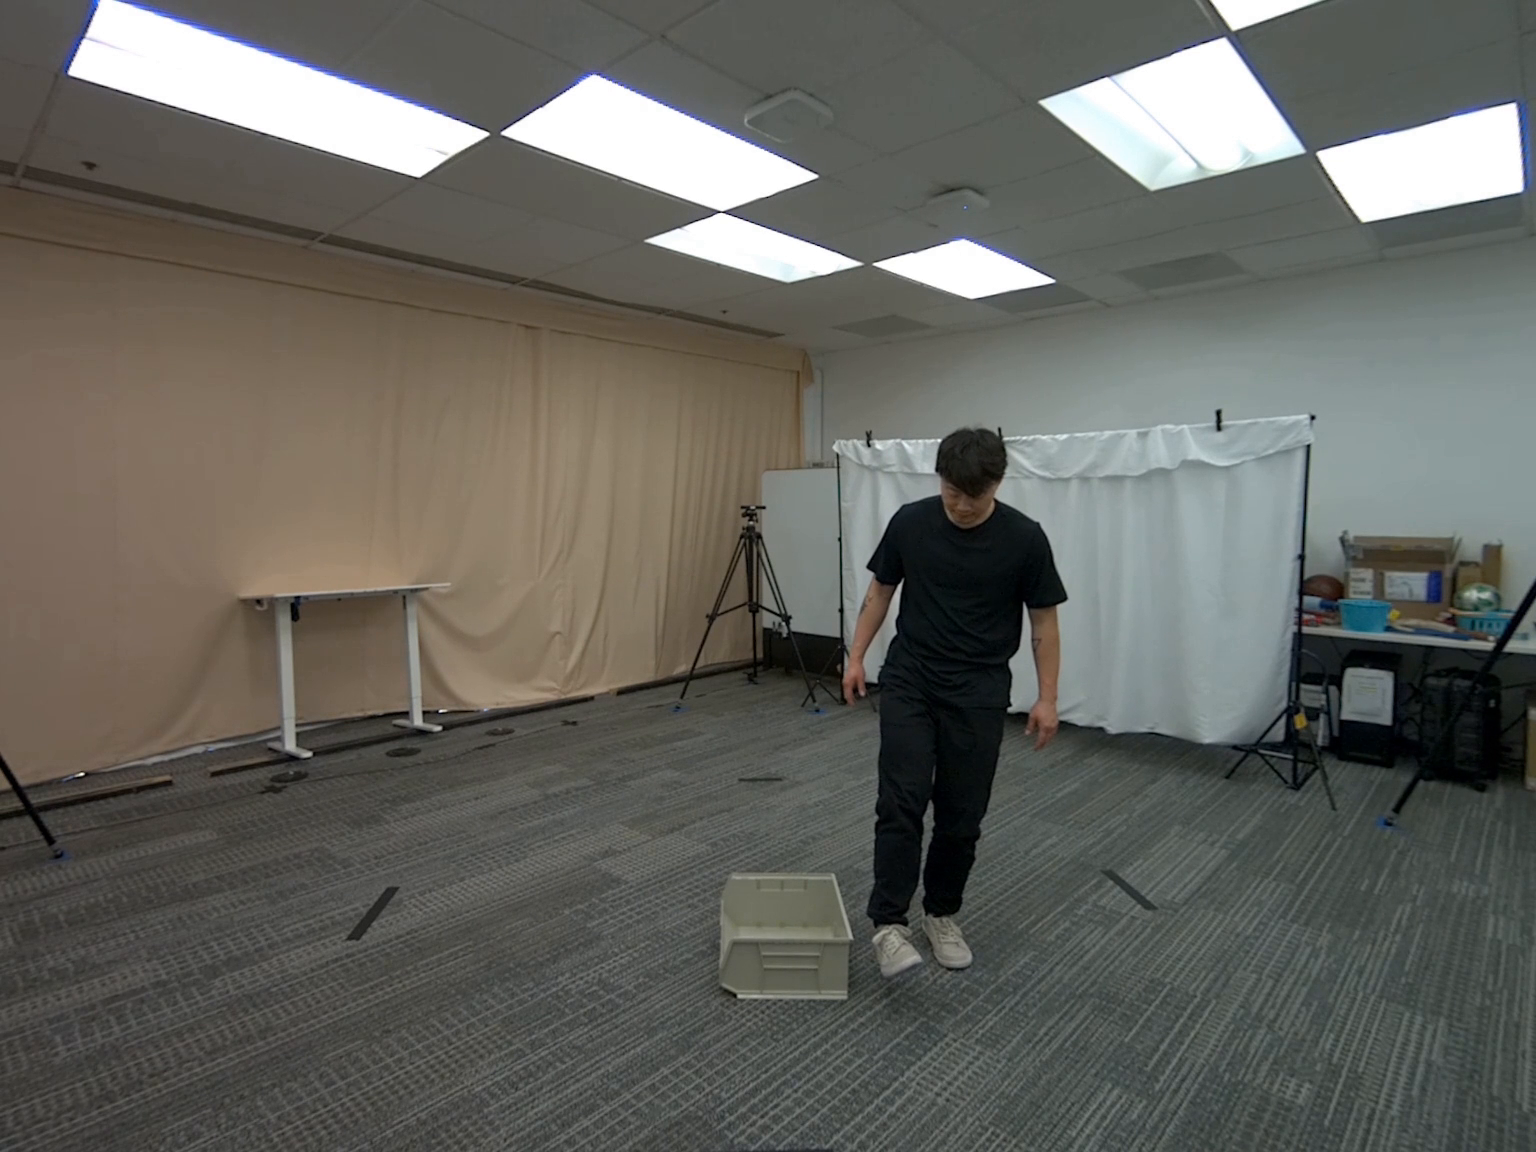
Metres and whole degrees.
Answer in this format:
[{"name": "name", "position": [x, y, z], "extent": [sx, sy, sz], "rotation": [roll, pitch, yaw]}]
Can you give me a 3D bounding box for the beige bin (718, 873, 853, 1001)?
[{"name": "beige bin", "position": [0.046, 1.096, 2.571], "extent": [0.377, 0.188, 0.424], "rotation": [0, 3, -2]}]
